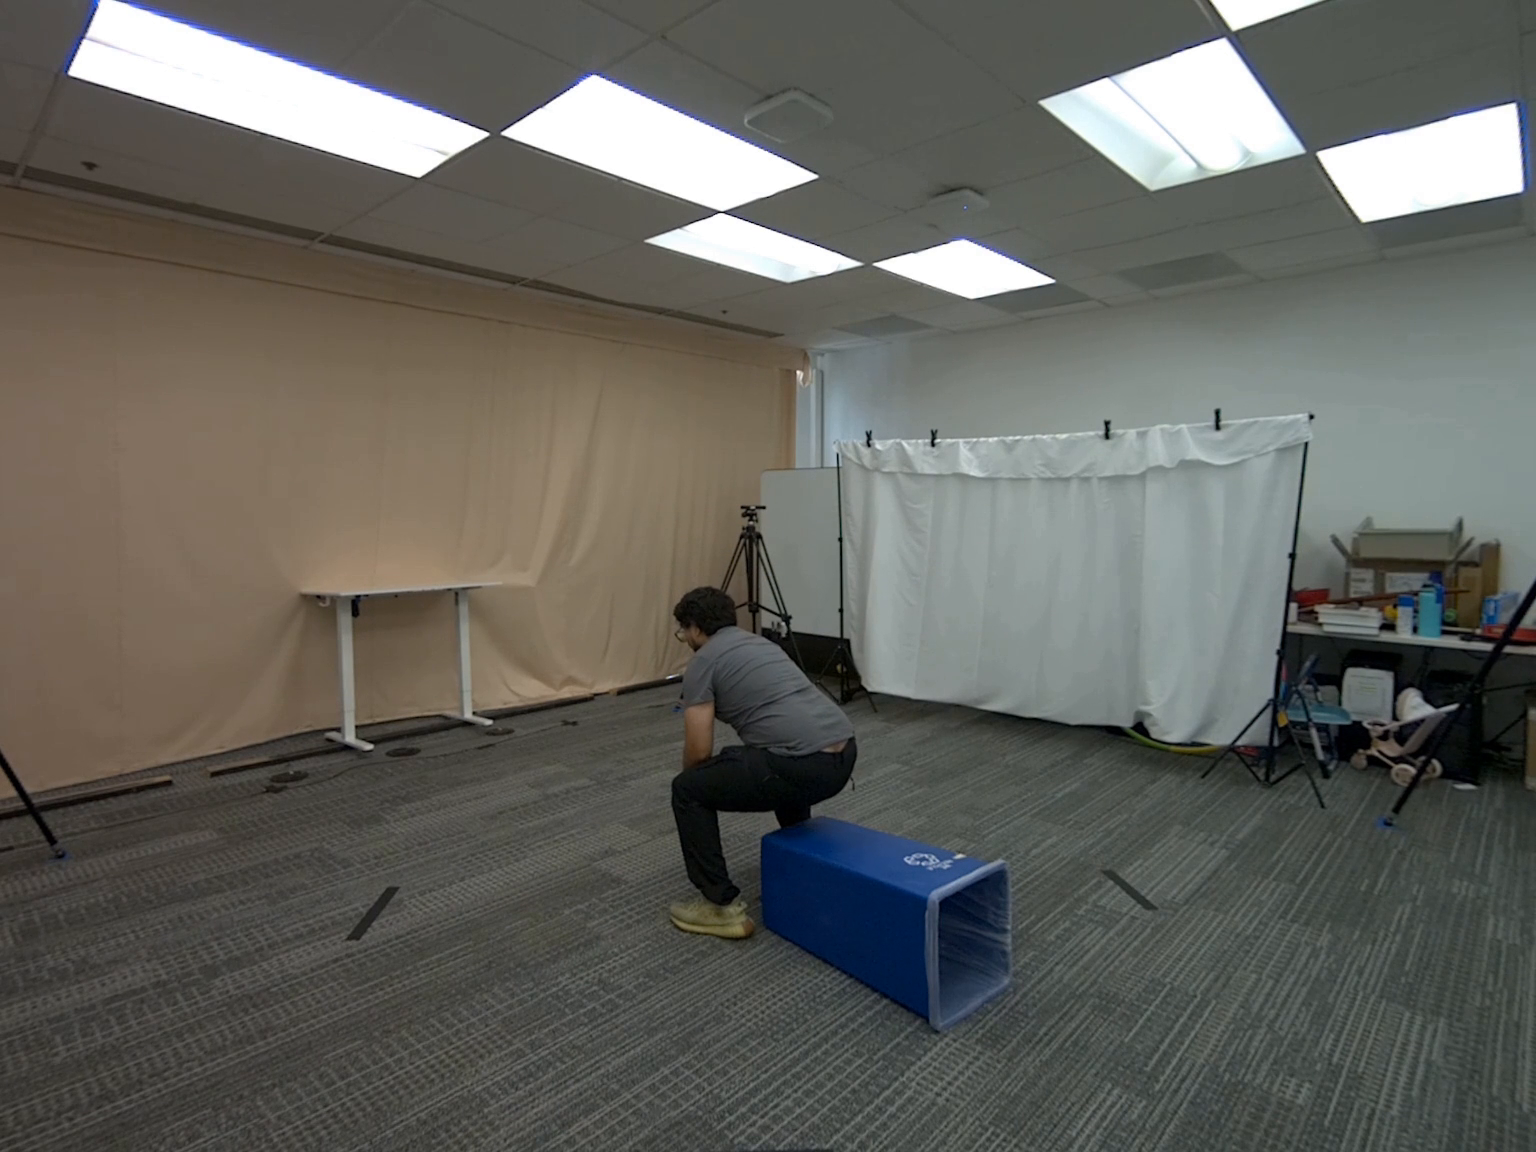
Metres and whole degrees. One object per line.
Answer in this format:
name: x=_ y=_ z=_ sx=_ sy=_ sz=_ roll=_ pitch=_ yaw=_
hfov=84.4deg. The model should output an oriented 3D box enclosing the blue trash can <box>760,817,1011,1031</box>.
blue trash can: x=0.337 y=0.999 z=2.588 sx=0.366 sy=0.373 sz=0.737 roll=-3 pitch=4 yaw=-42
